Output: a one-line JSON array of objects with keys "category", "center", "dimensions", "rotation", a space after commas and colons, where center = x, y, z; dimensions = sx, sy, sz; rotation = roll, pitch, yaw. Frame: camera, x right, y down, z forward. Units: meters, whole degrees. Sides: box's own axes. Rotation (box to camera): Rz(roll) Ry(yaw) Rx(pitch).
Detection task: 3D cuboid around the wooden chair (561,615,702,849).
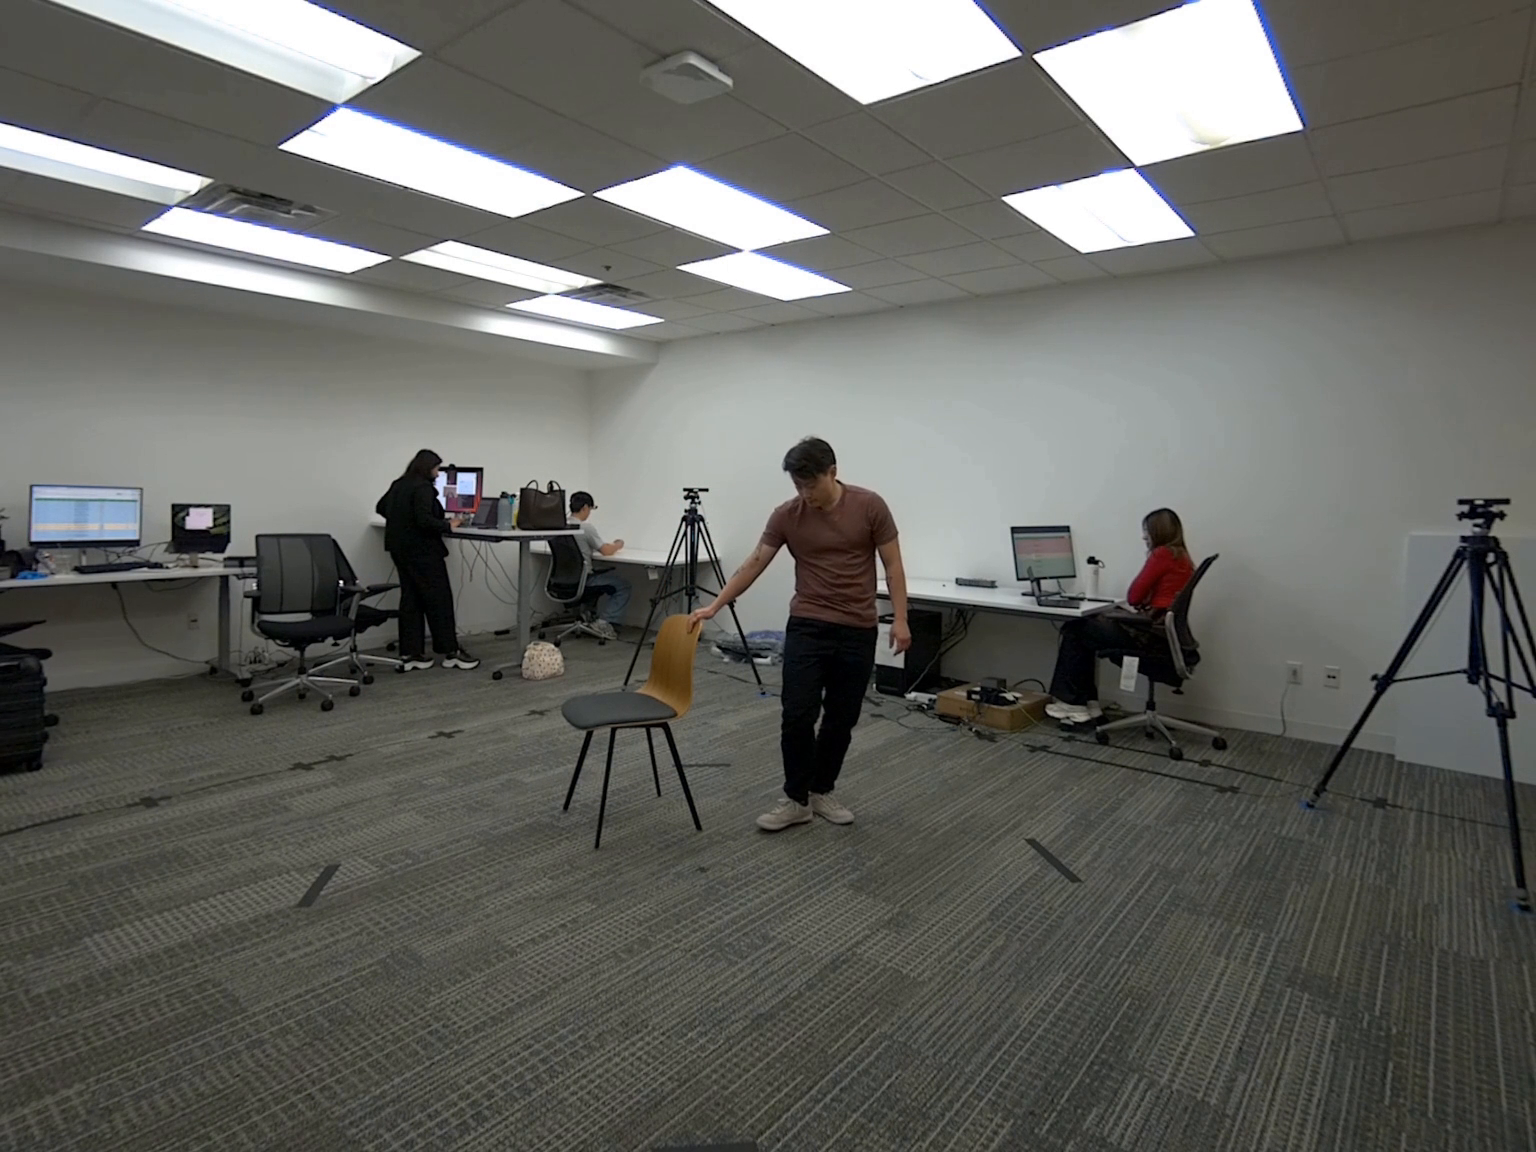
[{"category": "wooden chair", "center": [-0.584, 0.595, 3.531], "dimensions": [0.509, 0.876, 0.492], "rotation": [4, 2, -28]}]
